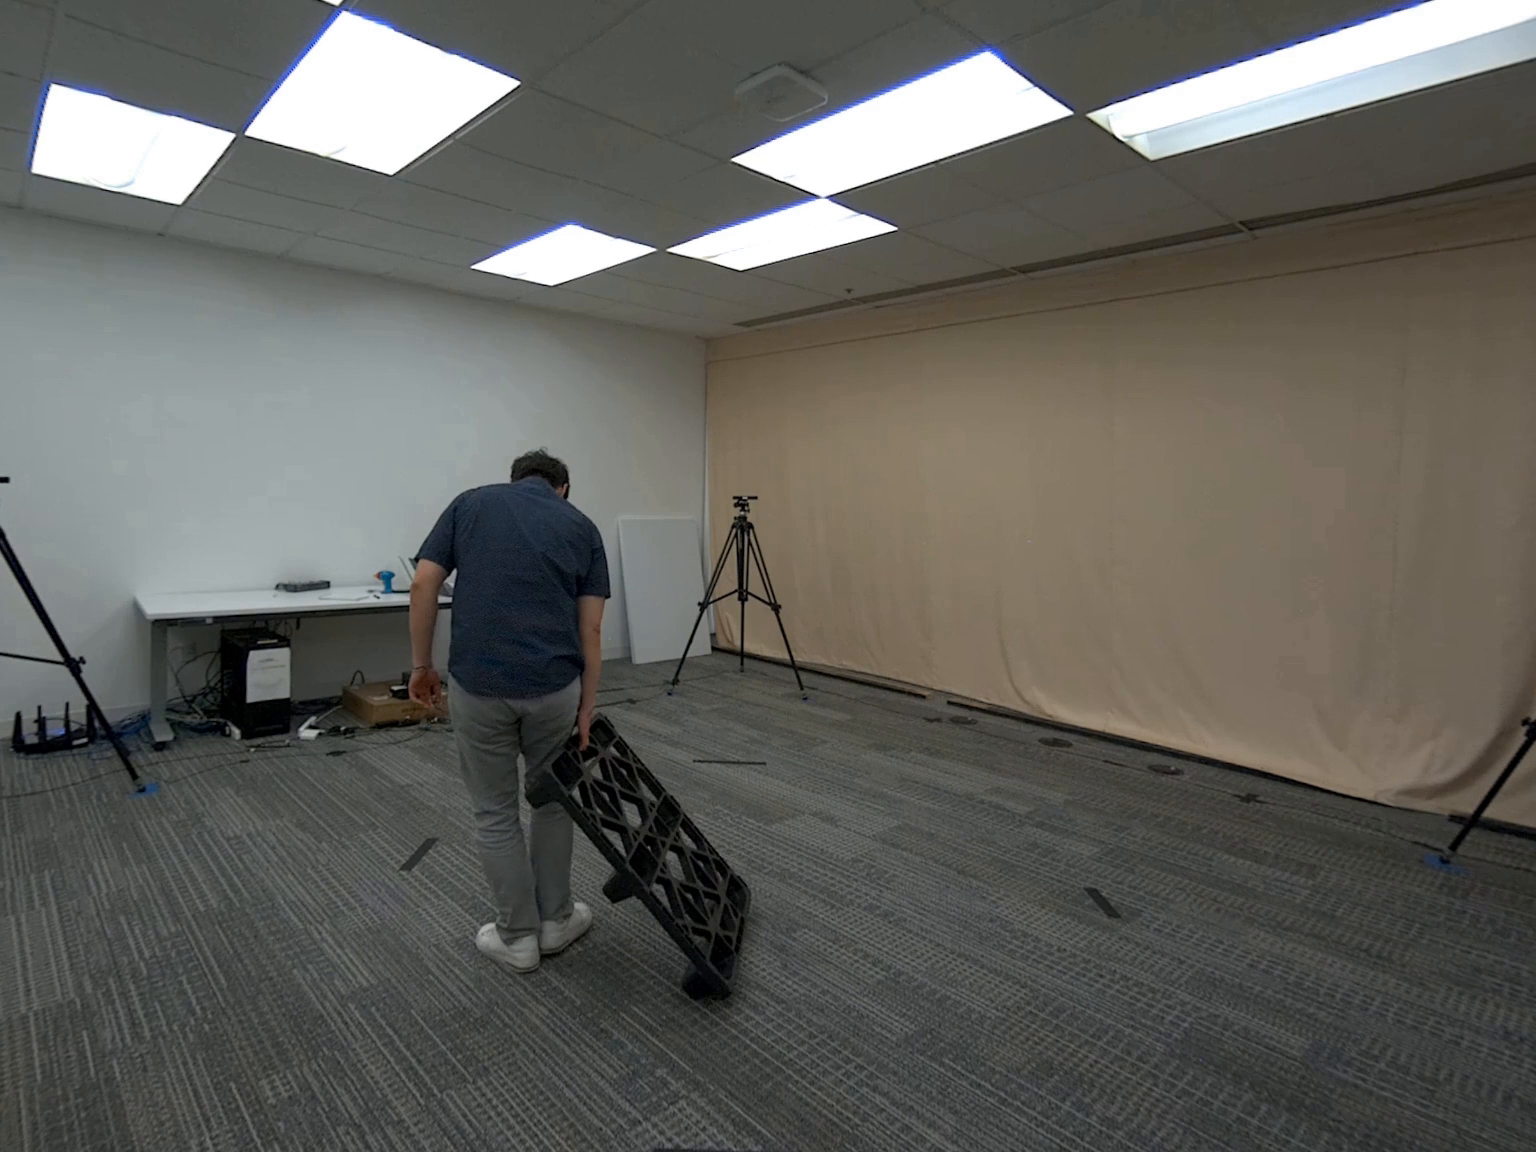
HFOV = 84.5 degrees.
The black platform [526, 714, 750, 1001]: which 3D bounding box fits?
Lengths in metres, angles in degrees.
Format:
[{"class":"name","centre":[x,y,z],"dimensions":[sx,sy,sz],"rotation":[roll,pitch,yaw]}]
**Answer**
[{"class":"black platform","centre":[-0.376,0.835,2.555],"dimensions":[0.143,0.807,0.604],"rotation":[-40,-1,6]}]
